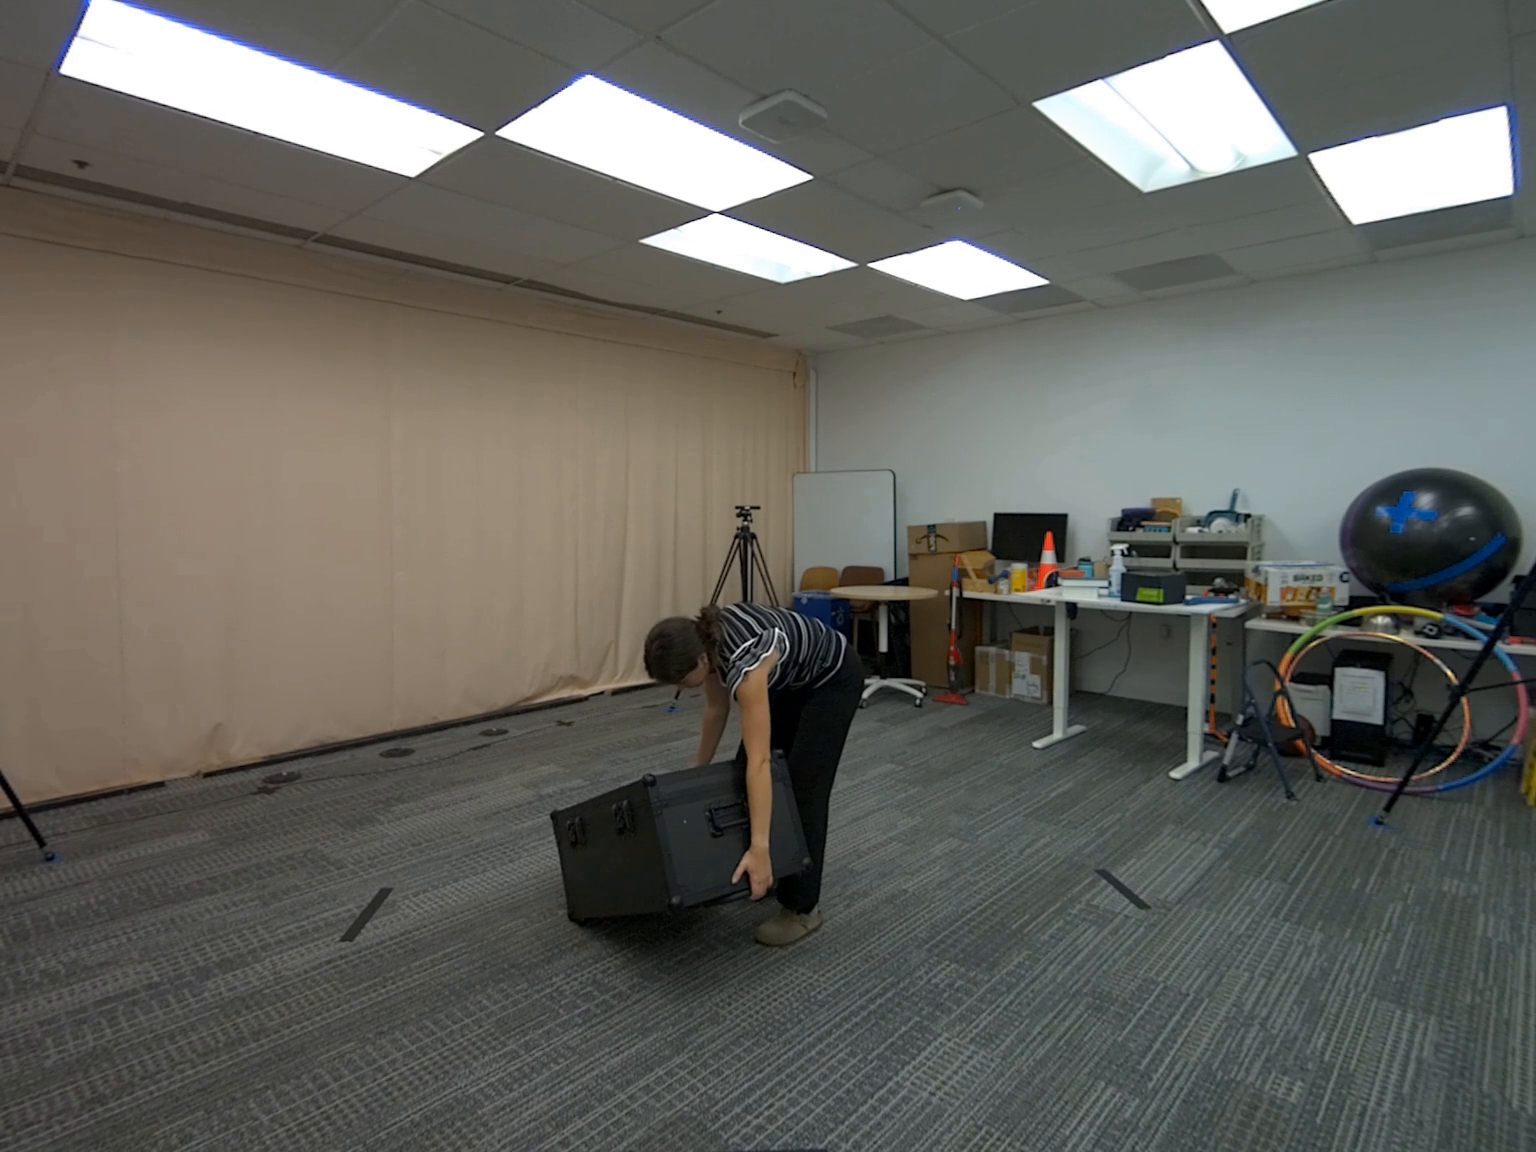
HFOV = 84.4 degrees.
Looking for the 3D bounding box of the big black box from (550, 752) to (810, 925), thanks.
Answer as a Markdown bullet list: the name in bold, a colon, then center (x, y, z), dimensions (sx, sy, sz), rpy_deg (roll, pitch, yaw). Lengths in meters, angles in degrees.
- **big black box**: center (-0.331, 0.869, 2.739), dimensions (0.506, 0.402, 0.875), rpy_deg (-3, -18, -35)
